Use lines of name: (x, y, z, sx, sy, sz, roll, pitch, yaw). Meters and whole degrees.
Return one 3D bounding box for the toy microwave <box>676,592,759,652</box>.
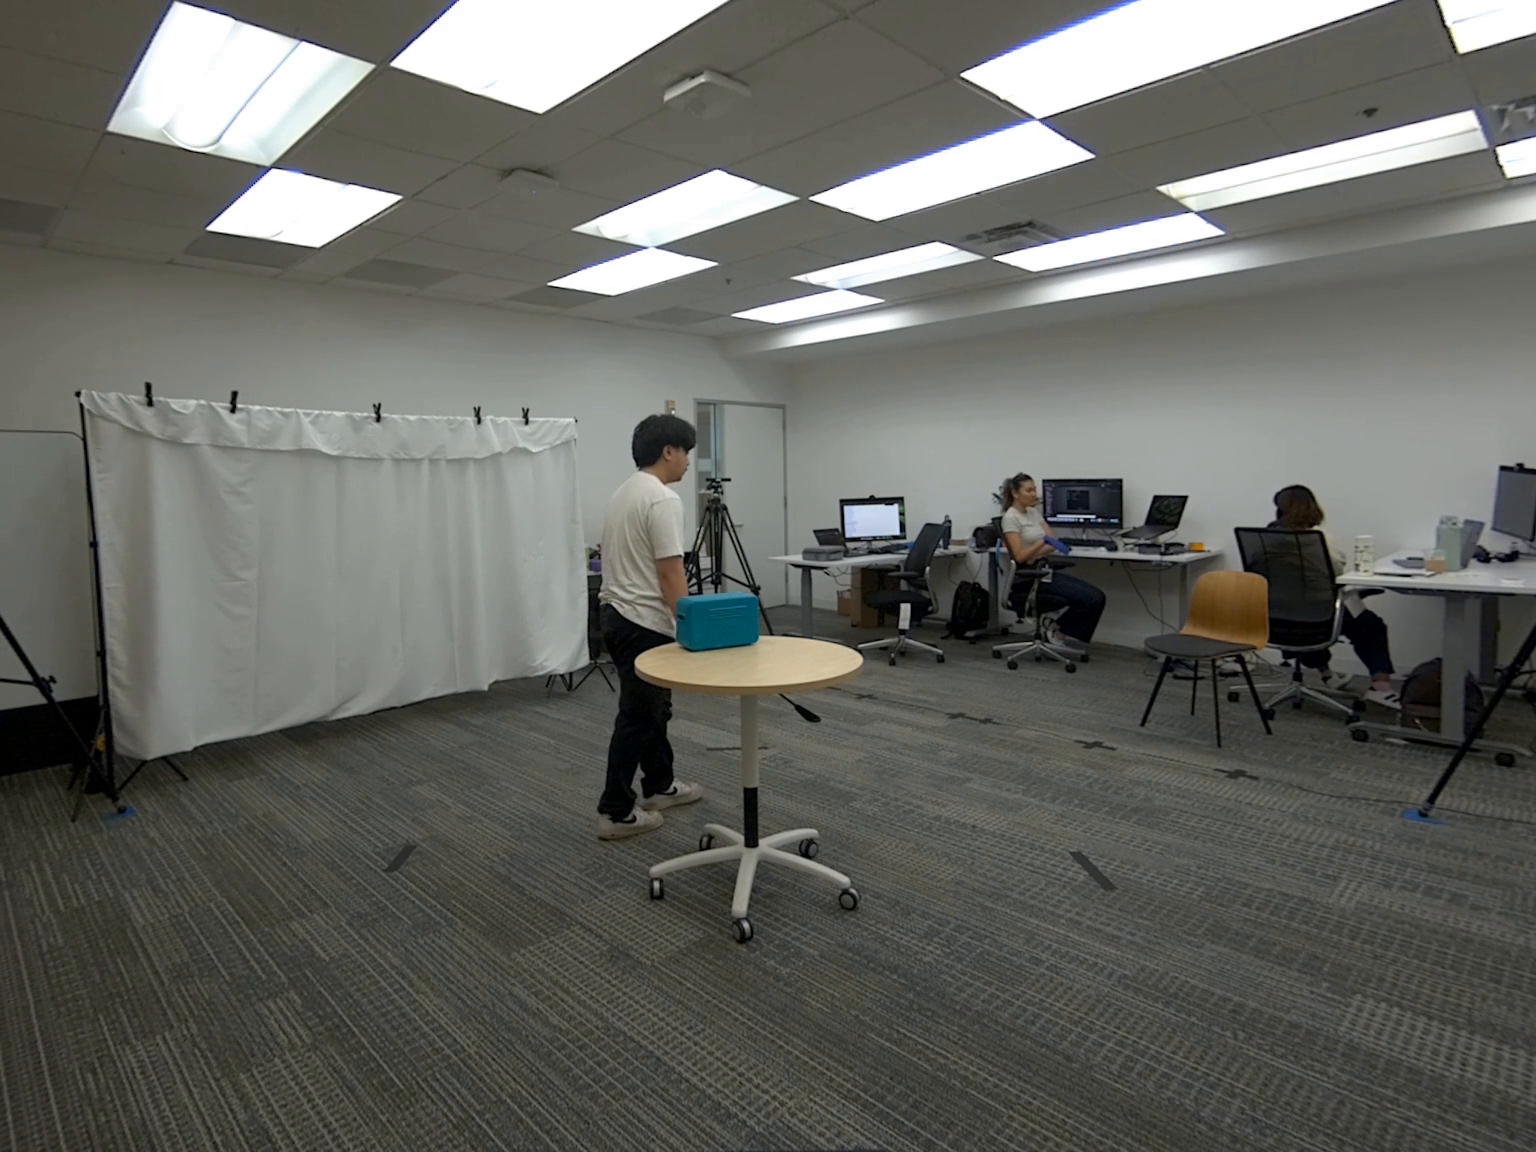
toy microwave: (-0.187, 0.158, 3.095, 0.280, 0.183, 0.156, -4, 5, -27)
